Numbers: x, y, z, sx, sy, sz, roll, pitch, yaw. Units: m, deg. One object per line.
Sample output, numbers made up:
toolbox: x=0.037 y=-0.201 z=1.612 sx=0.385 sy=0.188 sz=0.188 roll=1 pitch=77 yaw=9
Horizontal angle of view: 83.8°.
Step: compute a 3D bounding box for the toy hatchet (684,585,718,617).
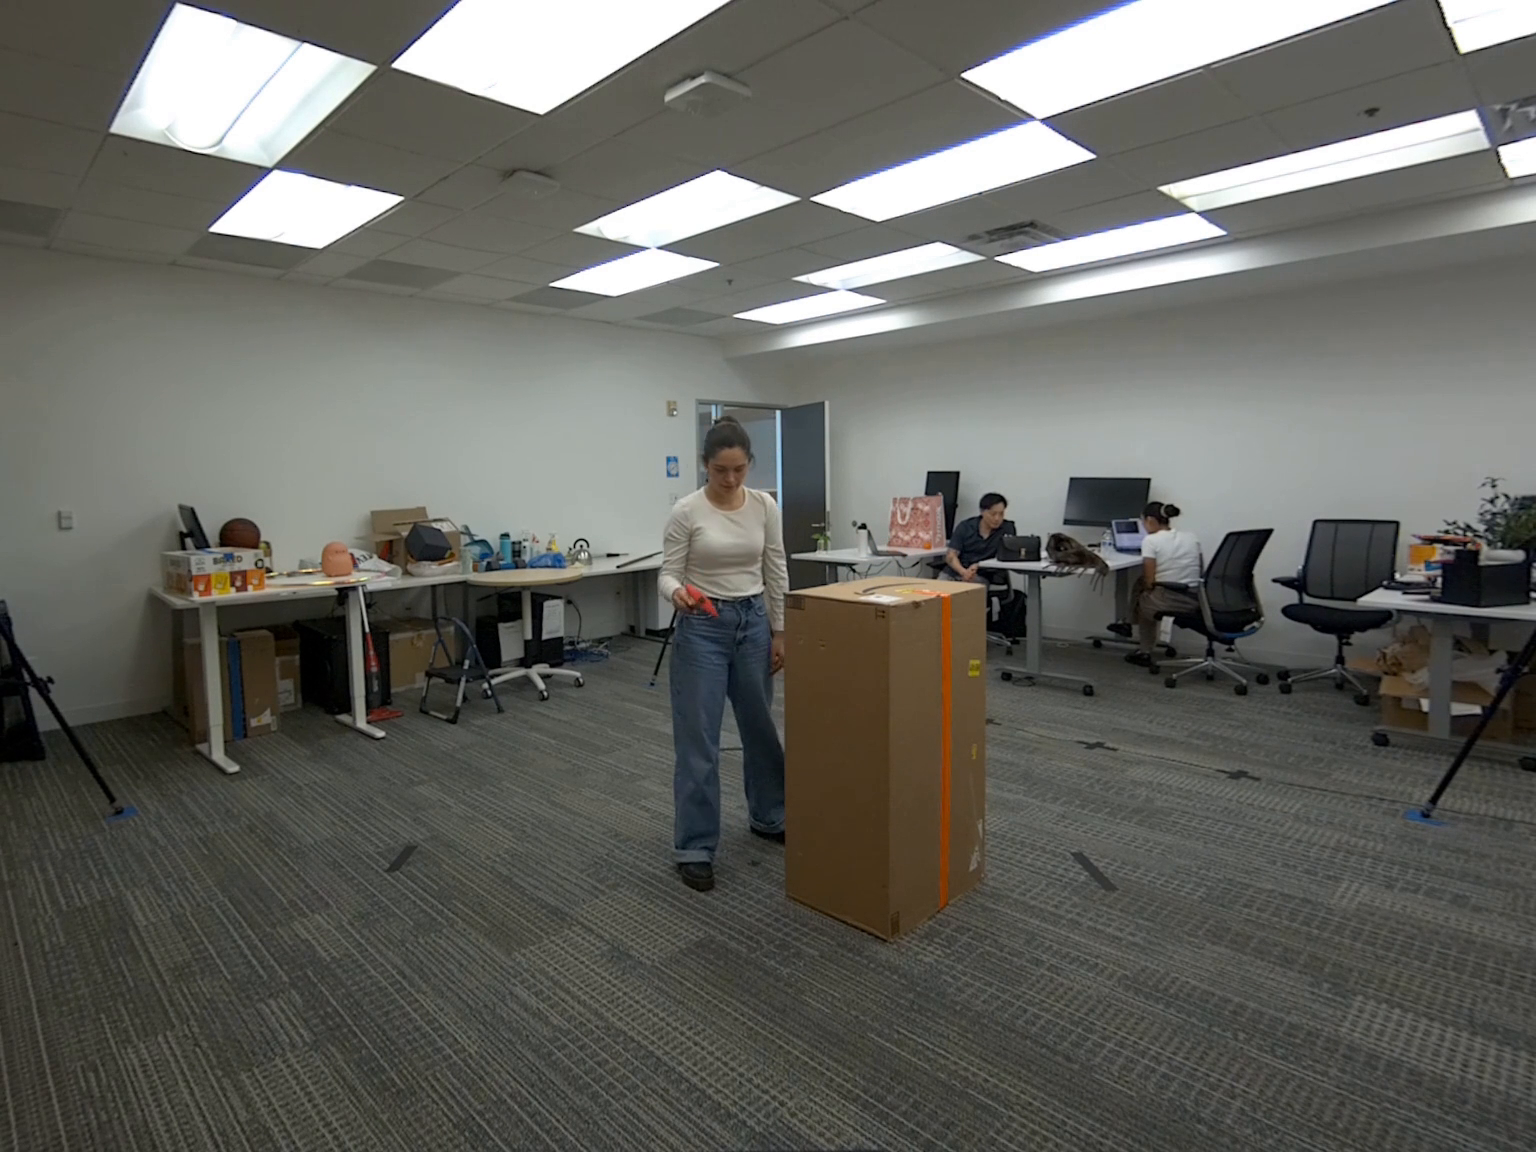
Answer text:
toy hatchet: x=-0.234 y=0.078 z=2.647 sx=0.029 sy=0.128 sz=0.276 roll=-46 pitch=19 yaw=-12
